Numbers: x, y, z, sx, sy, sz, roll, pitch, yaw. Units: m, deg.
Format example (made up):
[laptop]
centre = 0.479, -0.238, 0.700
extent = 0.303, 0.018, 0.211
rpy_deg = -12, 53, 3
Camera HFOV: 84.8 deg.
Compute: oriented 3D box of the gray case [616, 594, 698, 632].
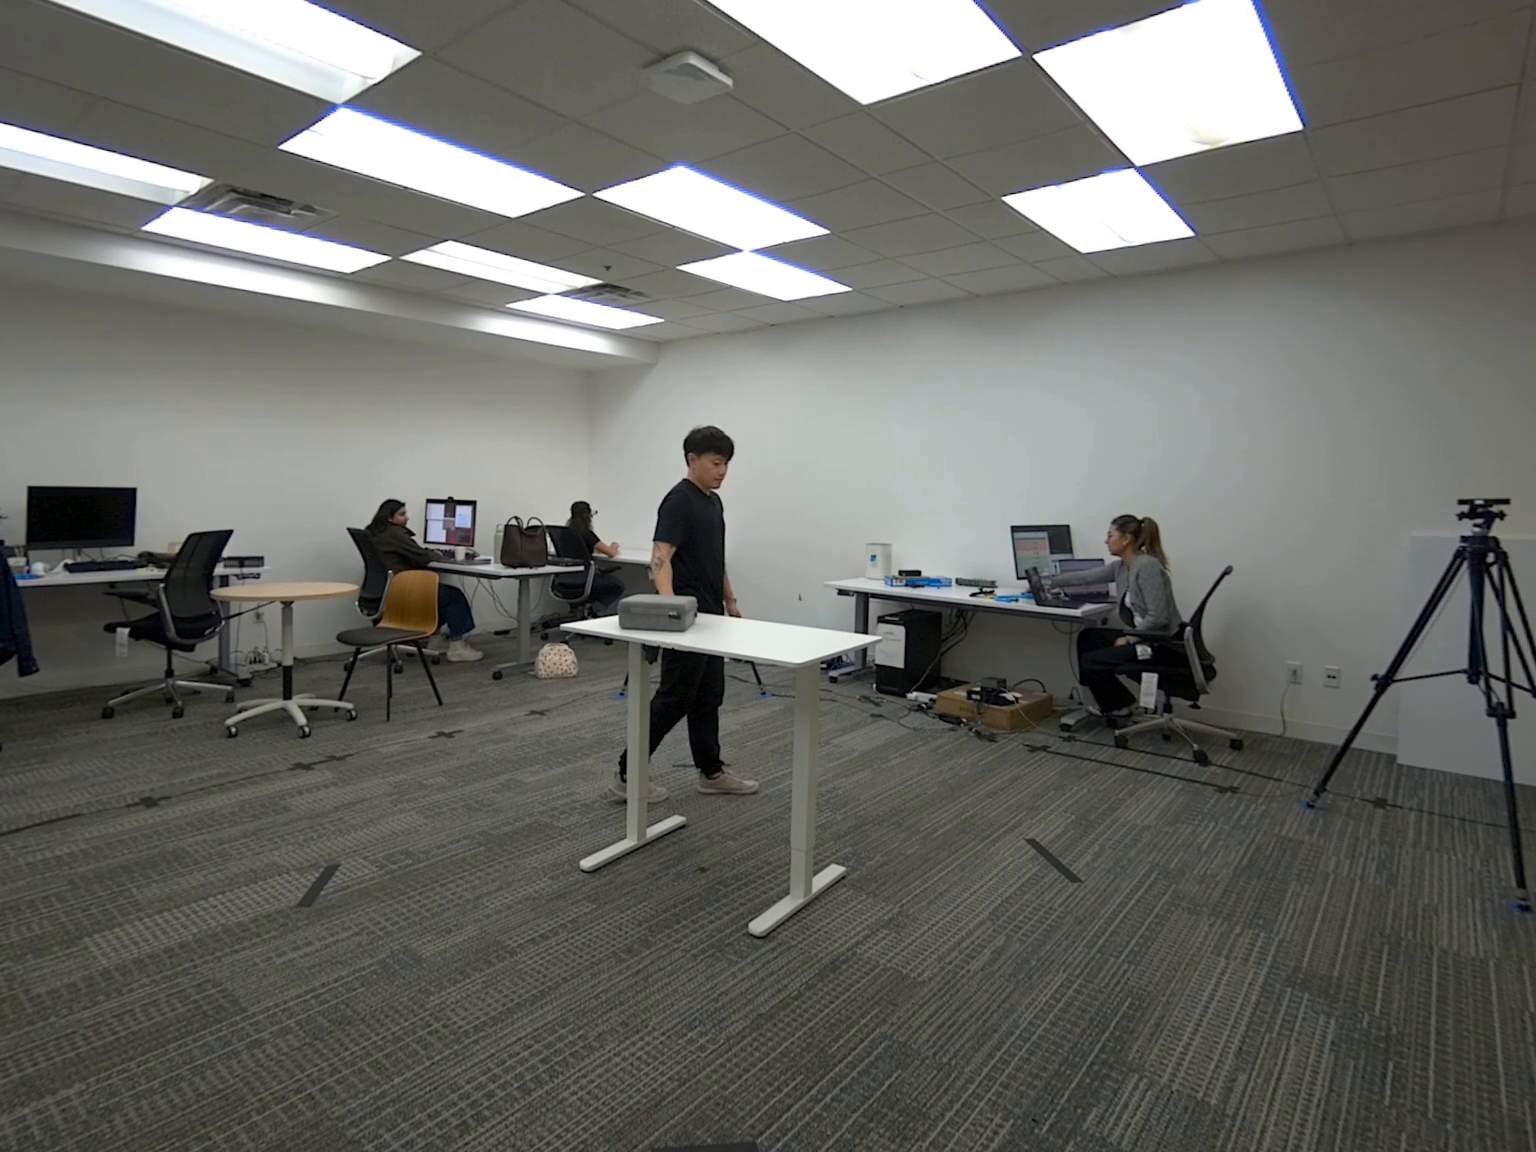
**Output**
[gray case]
centre = -0.410, 0.125, 3.129
extent = 0.259, 0.104, 0.259
rpy_deg = 2, 4, 7
